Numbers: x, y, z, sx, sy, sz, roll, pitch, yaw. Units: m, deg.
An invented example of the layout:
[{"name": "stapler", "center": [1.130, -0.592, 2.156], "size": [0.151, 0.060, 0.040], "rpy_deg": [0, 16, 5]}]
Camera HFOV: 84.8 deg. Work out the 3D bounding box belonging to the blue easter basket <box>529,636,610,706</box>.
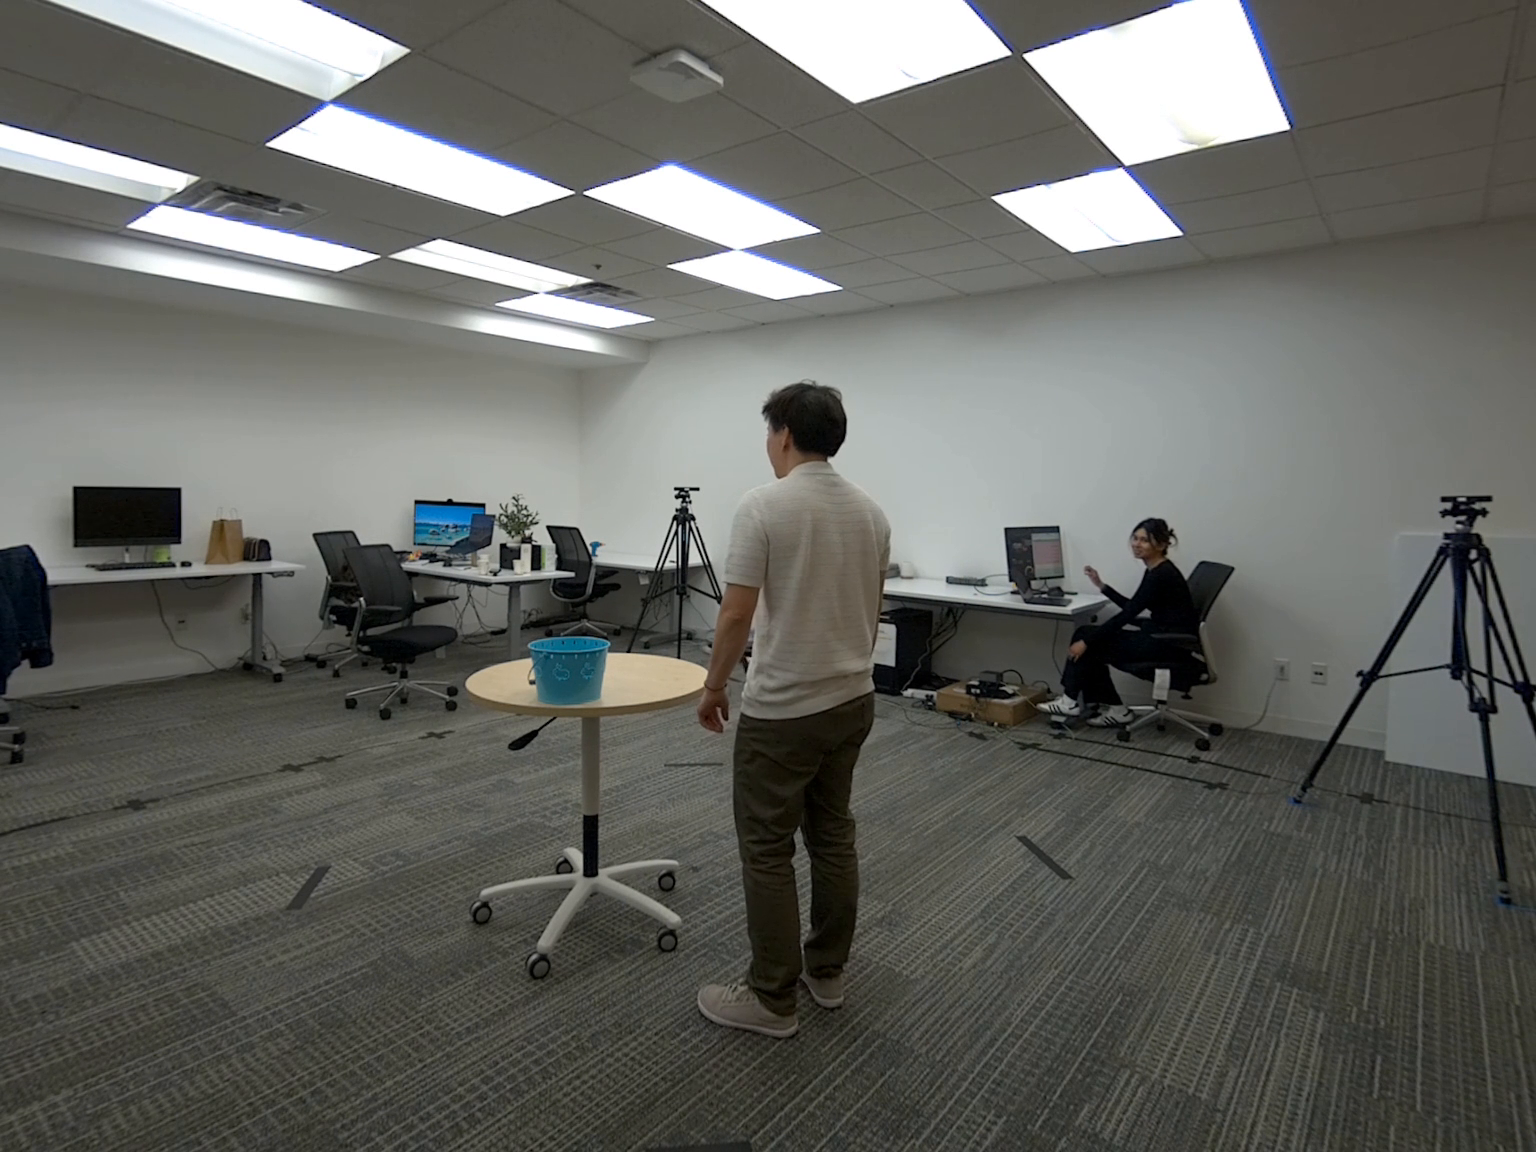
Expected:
[{"name": "blue easter basket", "center": [-0.582, 0.273, 2.439], "size": [0.243, 0.155, 0.245], "rpy_deg": [1, 6, -2]}]
